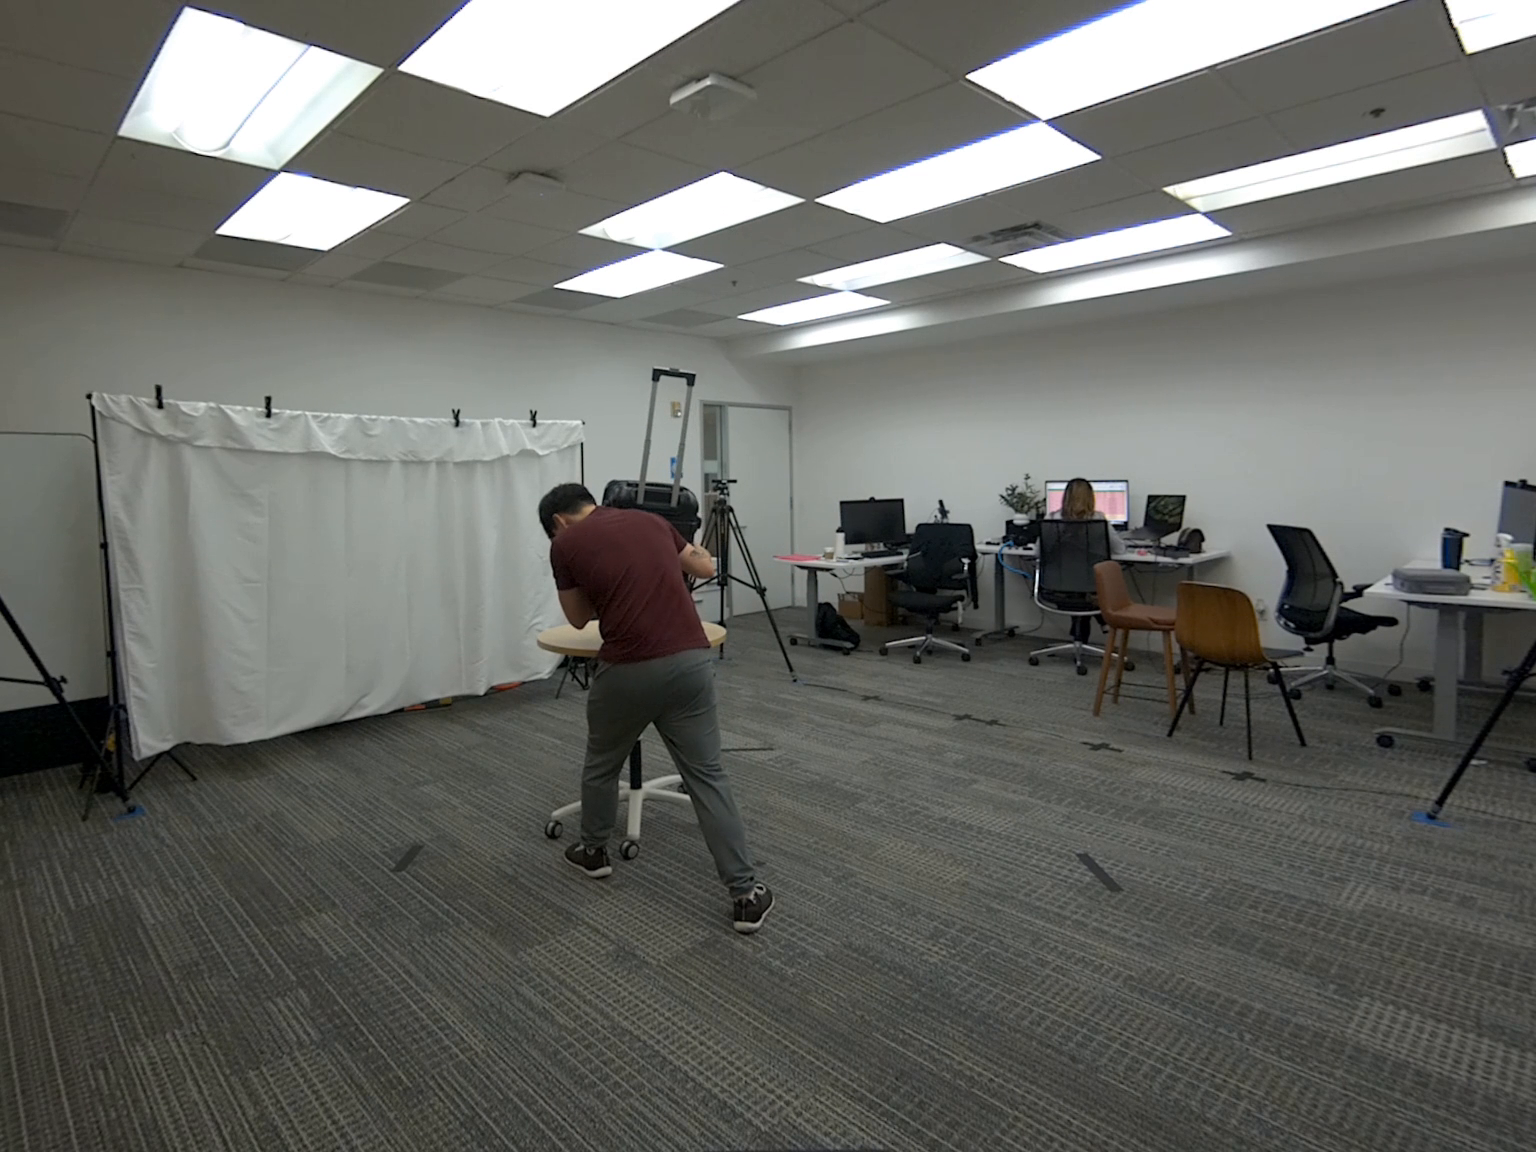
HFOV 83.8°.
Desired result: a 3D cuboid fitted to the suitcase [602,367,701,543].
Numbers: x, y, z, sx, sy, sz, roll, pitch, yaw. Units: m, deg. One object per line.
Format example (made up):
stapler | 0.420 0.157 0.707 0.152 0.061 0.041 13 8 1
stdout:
suitcase | -0.452 -0.295 3.276 0.378 0.970 0.264 4 11 -17
